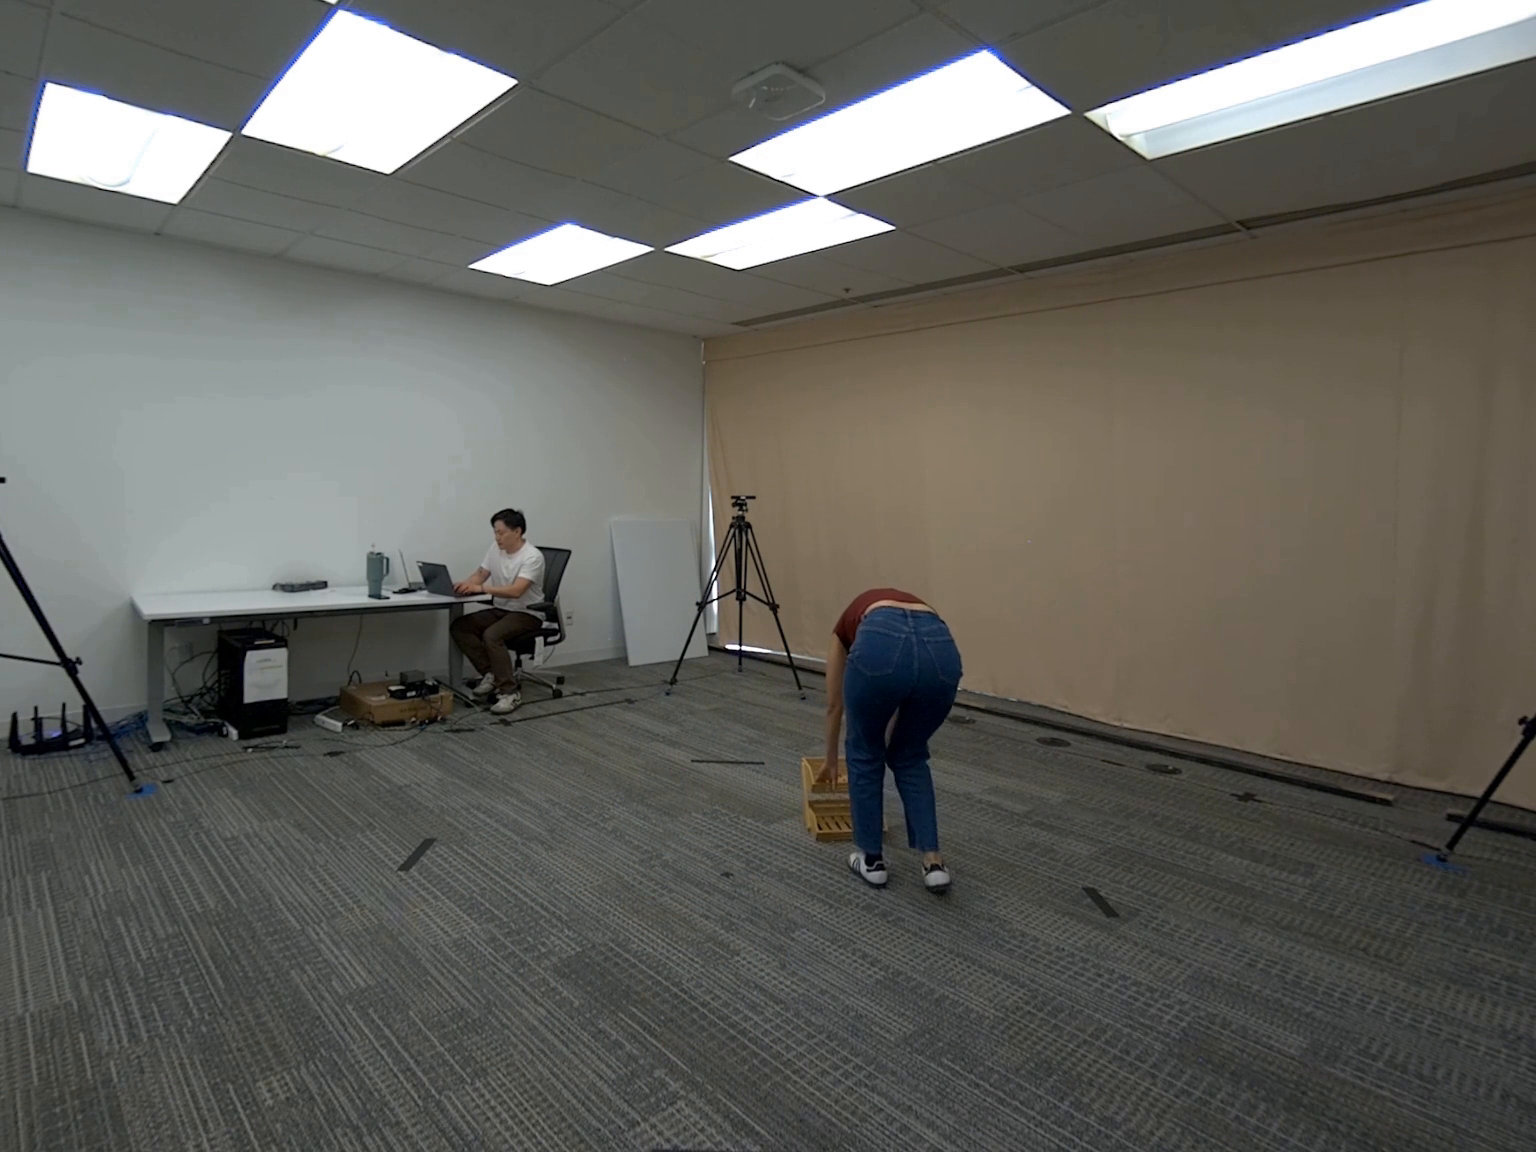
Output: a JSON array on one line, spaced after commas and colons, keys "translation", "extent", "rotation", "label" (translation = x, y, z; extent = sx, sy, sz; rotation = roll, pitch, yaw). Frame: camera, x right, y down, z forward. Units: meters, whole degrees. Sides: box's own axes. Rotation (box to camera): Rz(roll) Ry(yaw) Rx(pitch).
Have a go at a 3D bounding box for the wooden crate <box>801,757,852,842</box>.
[{"translation": [0.314, 0.938, 3.564], "extent": [0.322, 0.273, 0.305], "rotation": [1, 4, -10], "label": "wooden crate"}]
